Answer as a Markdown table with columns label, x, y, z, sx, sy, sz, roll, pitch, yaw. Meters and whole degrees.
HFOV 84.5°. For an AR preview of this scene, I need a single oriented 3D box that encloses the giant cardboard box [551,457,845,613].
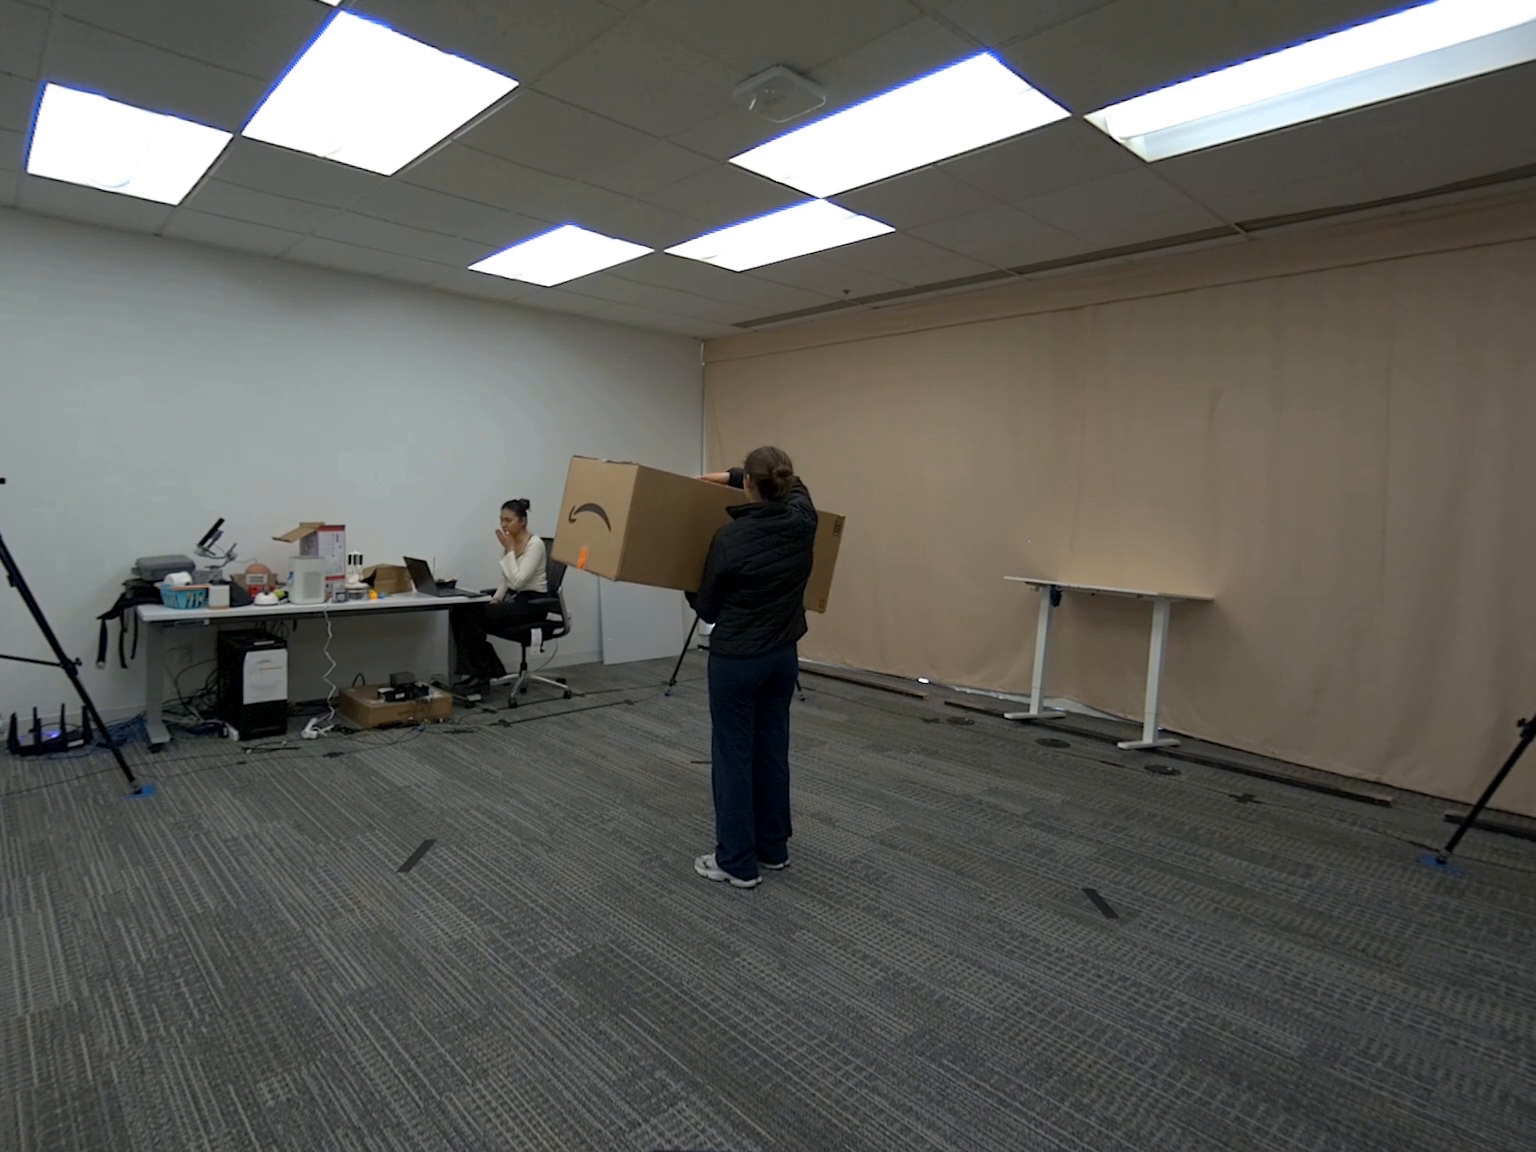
| label | x | y | z | sx | sy | sz | roll | pitch | yaw |
| --- | --- | --- | --- | --- | --- | --- | --- | --- | --- |
| giant cardboard box | -0.278 | -0.156 | 3.461 | 0.999 | 0.426 | 0.593 | 10 | 3 | -37 |
